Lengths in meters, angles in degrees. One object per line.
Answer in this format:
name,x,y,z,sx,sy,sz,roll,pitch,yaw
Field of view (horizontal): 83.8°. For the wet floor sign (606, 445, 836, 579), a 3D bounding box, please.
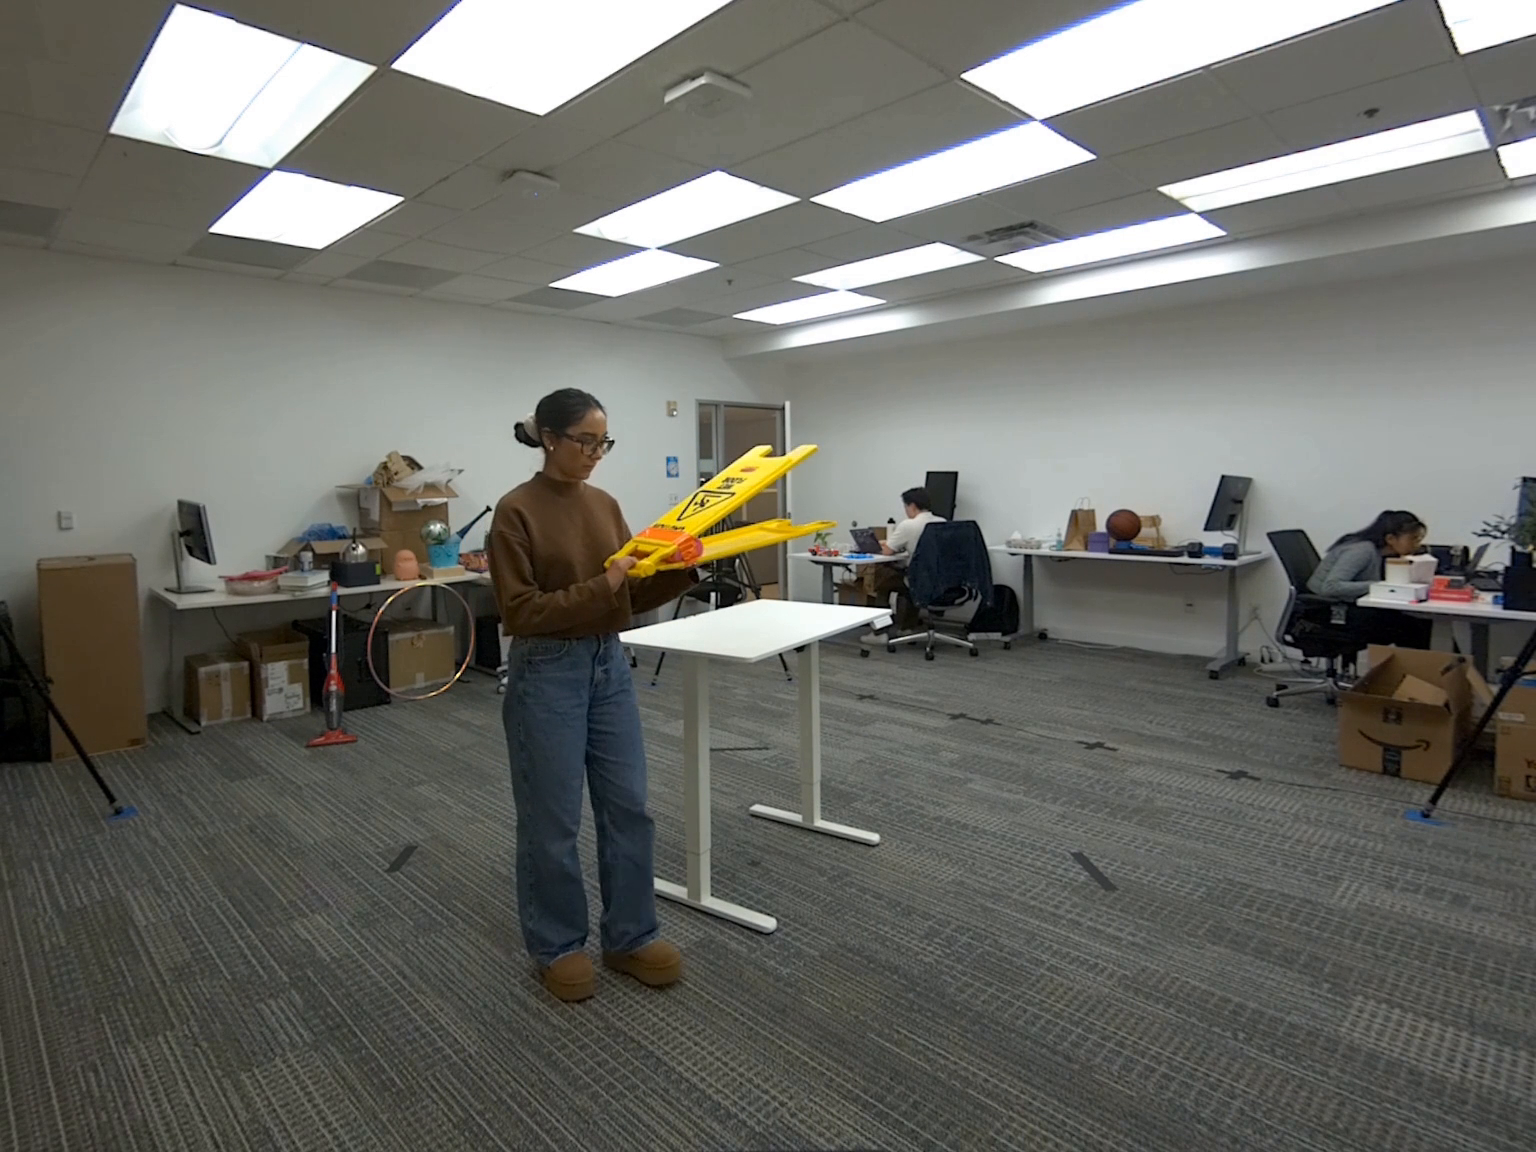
wet floor sign,-0.139,-0.141,2.395,0.638,0.284,0.291,-27,21,-33
